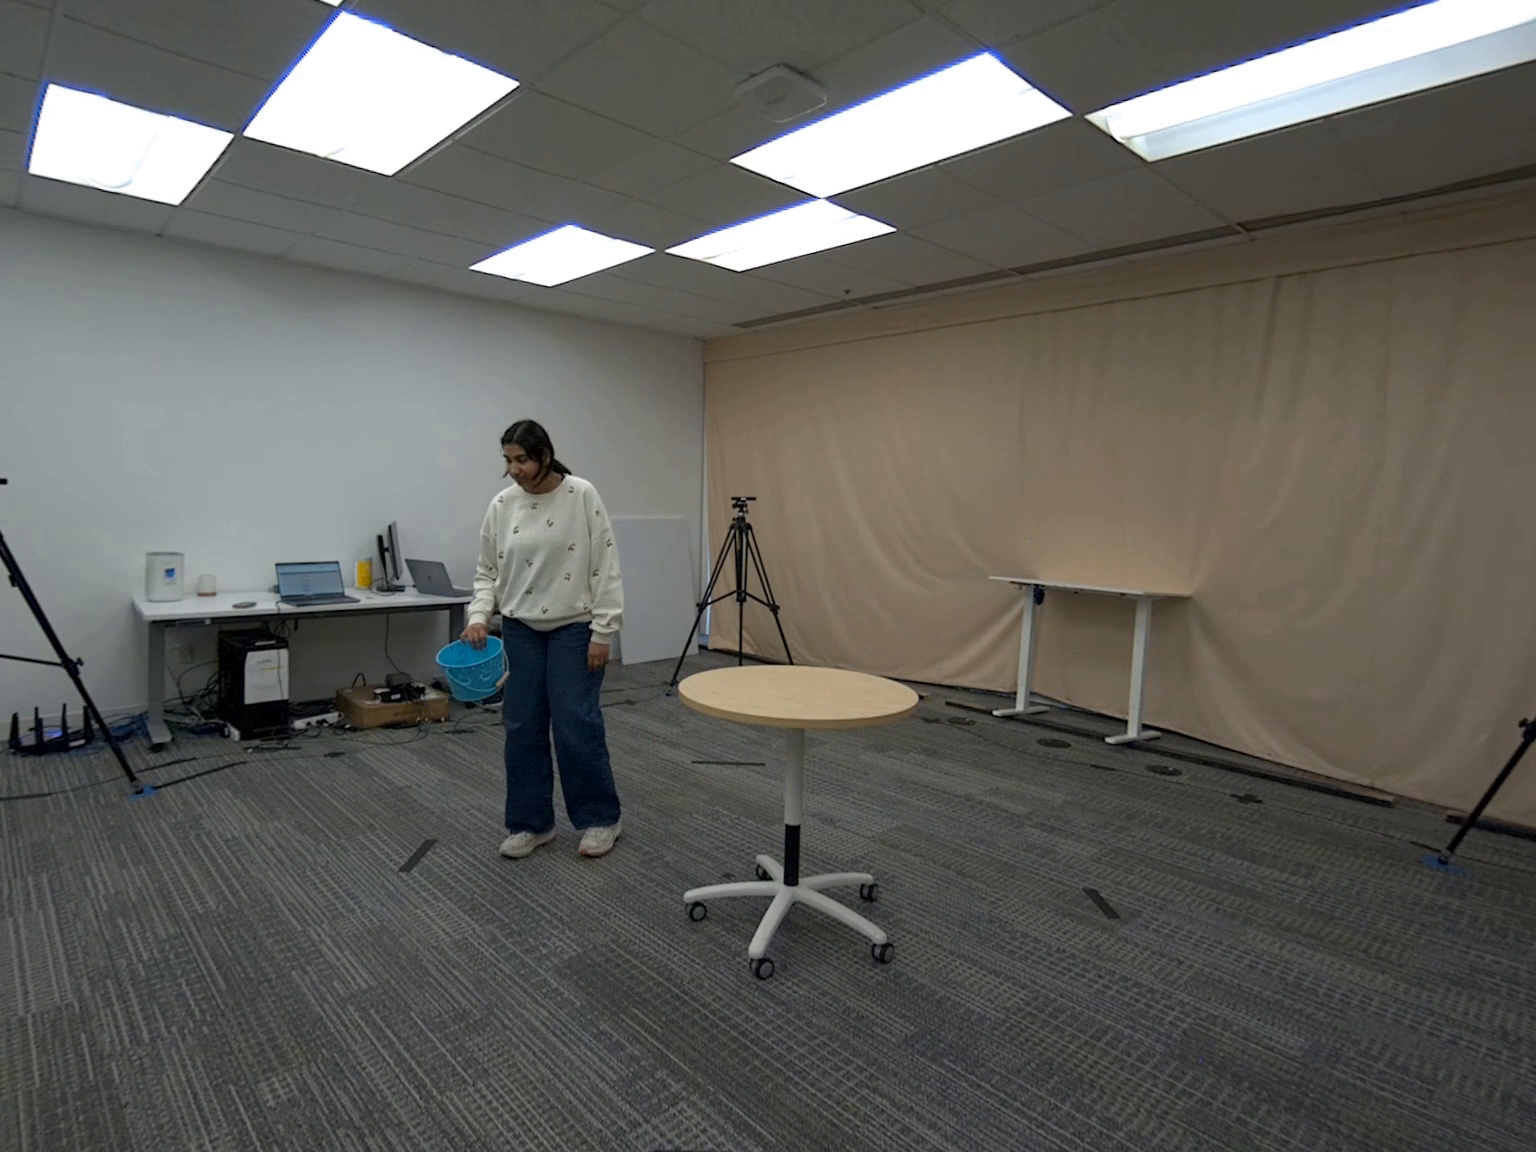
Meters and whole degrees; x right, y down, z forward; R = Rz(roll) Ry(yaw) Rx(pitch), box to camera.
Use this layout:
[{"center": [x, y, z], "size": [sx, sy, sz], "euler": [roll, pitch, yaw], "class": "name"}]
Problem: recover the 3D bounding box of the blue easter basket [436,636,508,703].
[{"center": [-1.074, 0.342, 3.025], "size": [0.244, 0.153, 0.247], "euler": [-5, 21, 1], "class": "blue easter basket"}]
